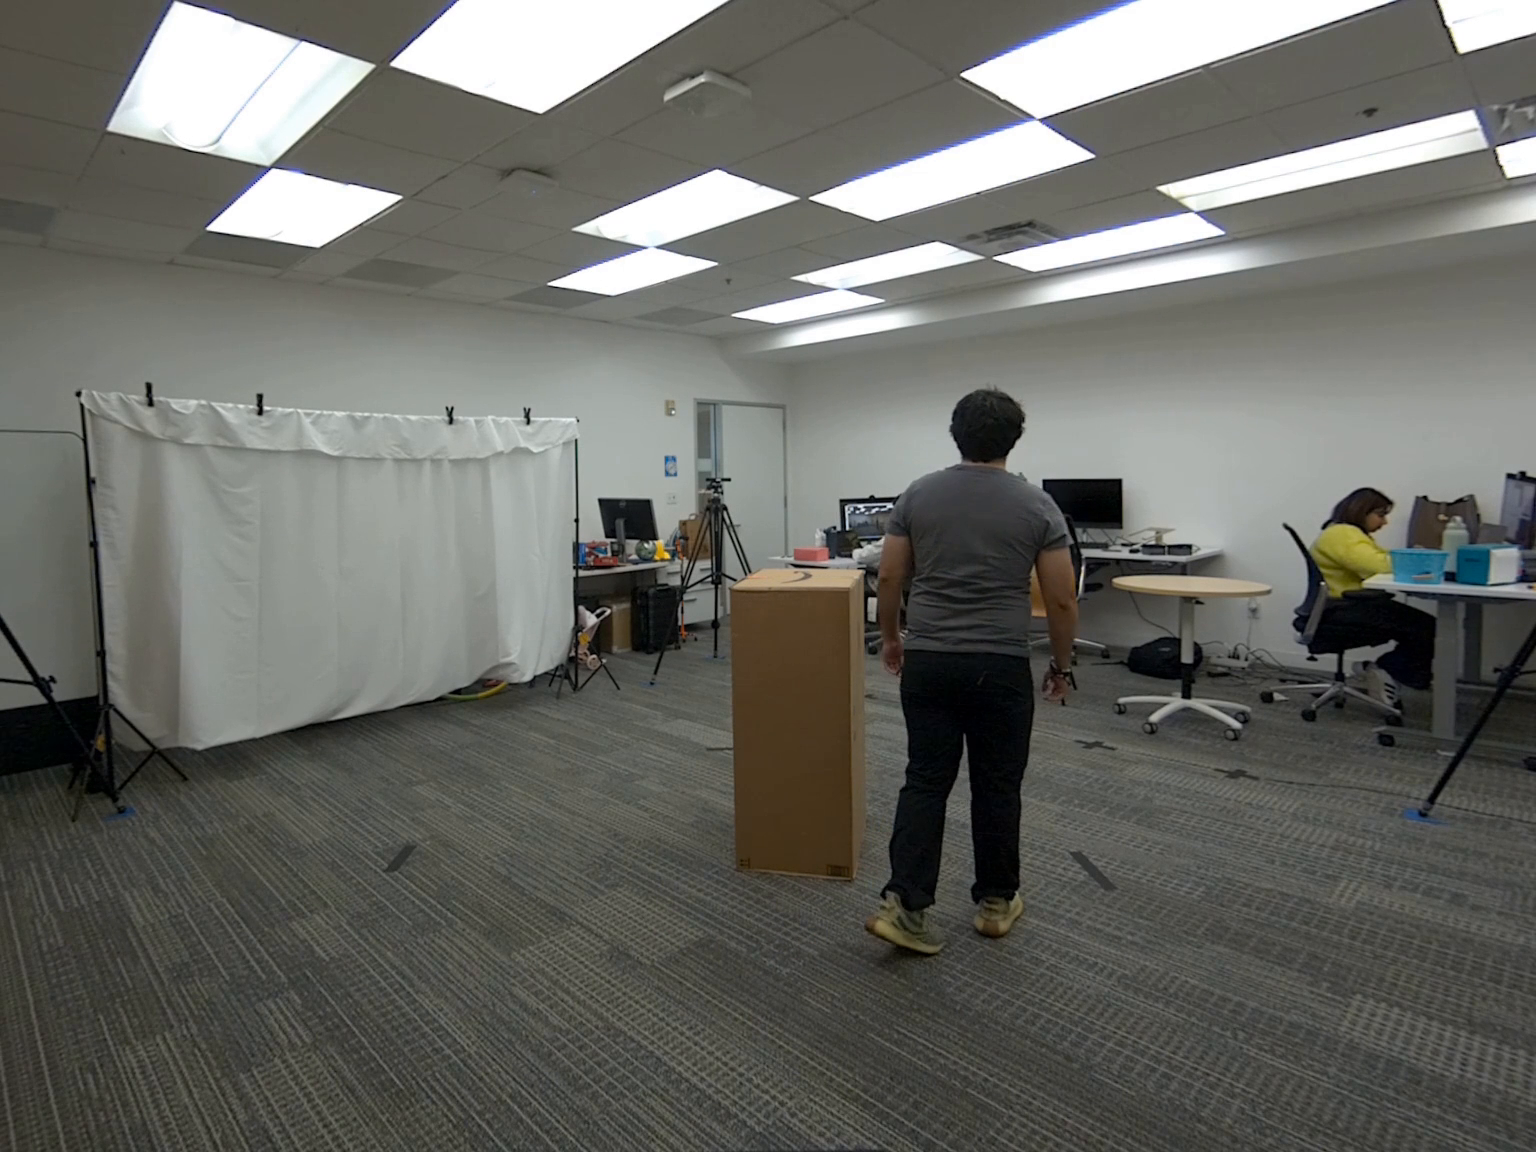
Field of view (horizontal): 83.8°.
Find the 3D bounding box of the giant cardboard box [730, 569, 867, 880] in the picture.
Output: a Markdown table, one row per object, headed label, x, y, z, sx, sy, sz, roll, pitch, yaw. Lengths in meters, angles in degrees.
| label | x | y | z | sx | sy | sz | roll | pitch | yaw |
| --- | --- | --- | --- | --- | --- | --- | --- | --- | --- |
| giant cardboard box | 0.126 | 0.512 | 3.239 | 0.432 | 1.022 | 0.572 | 0 | 5 | 13 |
